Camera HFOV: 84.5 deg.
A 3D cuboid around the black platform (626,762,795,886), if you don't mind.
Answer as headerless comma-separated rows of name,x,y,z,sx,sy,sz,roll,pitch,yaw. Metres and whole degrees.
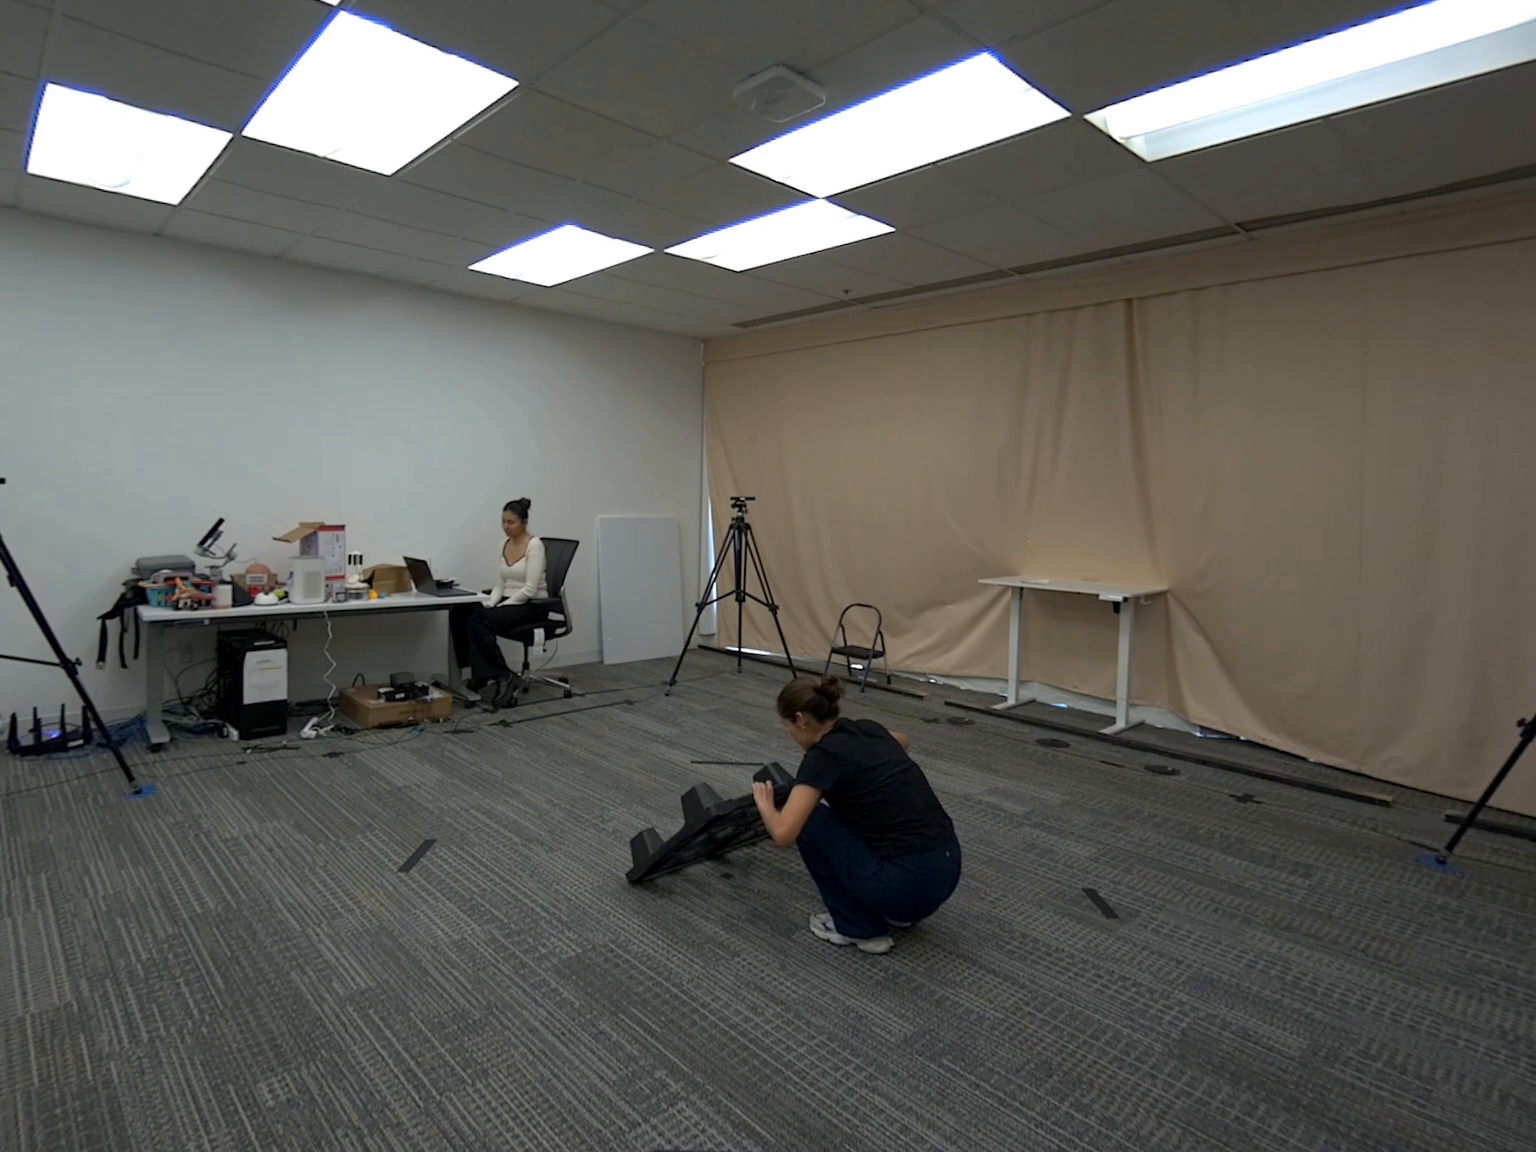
black platform,-0.088,0.862,3.113,0.787,0.147,0.605,-3,-34,-45
